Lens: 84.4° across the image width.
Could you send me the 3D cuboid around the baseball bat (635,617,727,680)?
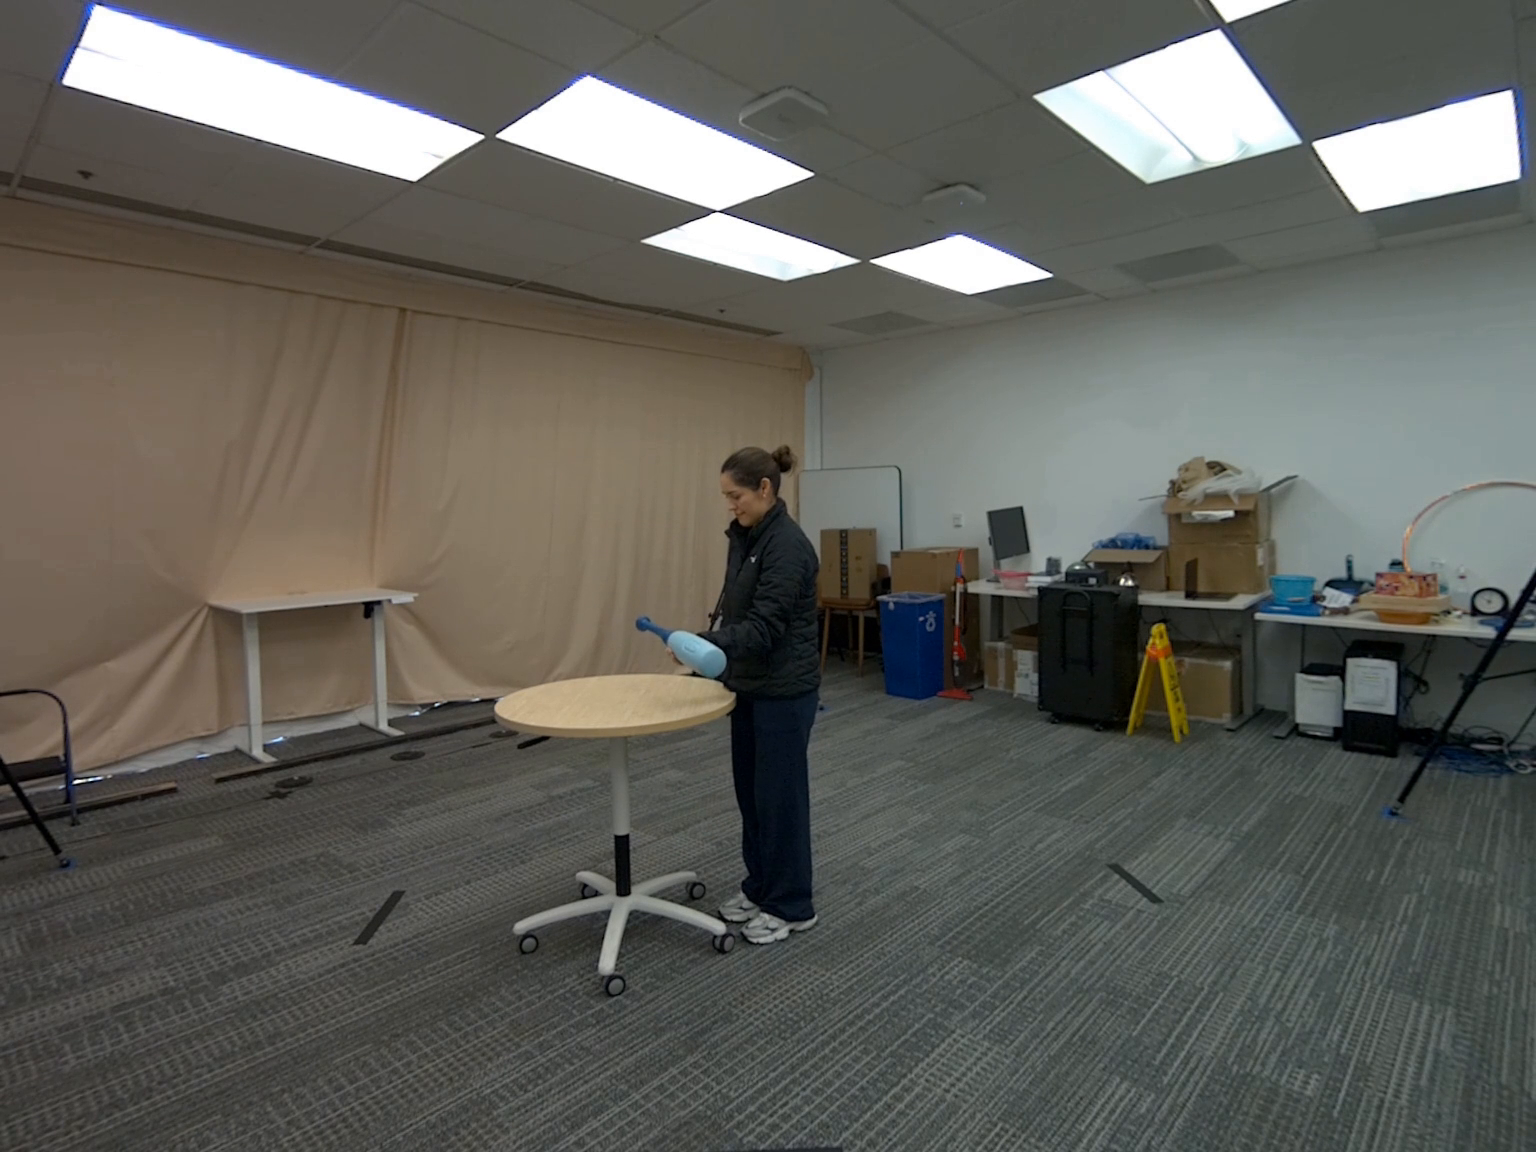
[{"bbox_3d":[-0.254,0.188,2.501,0.087,0.088,0.559,-3,9,-26],"label":"baseball bat"}]
